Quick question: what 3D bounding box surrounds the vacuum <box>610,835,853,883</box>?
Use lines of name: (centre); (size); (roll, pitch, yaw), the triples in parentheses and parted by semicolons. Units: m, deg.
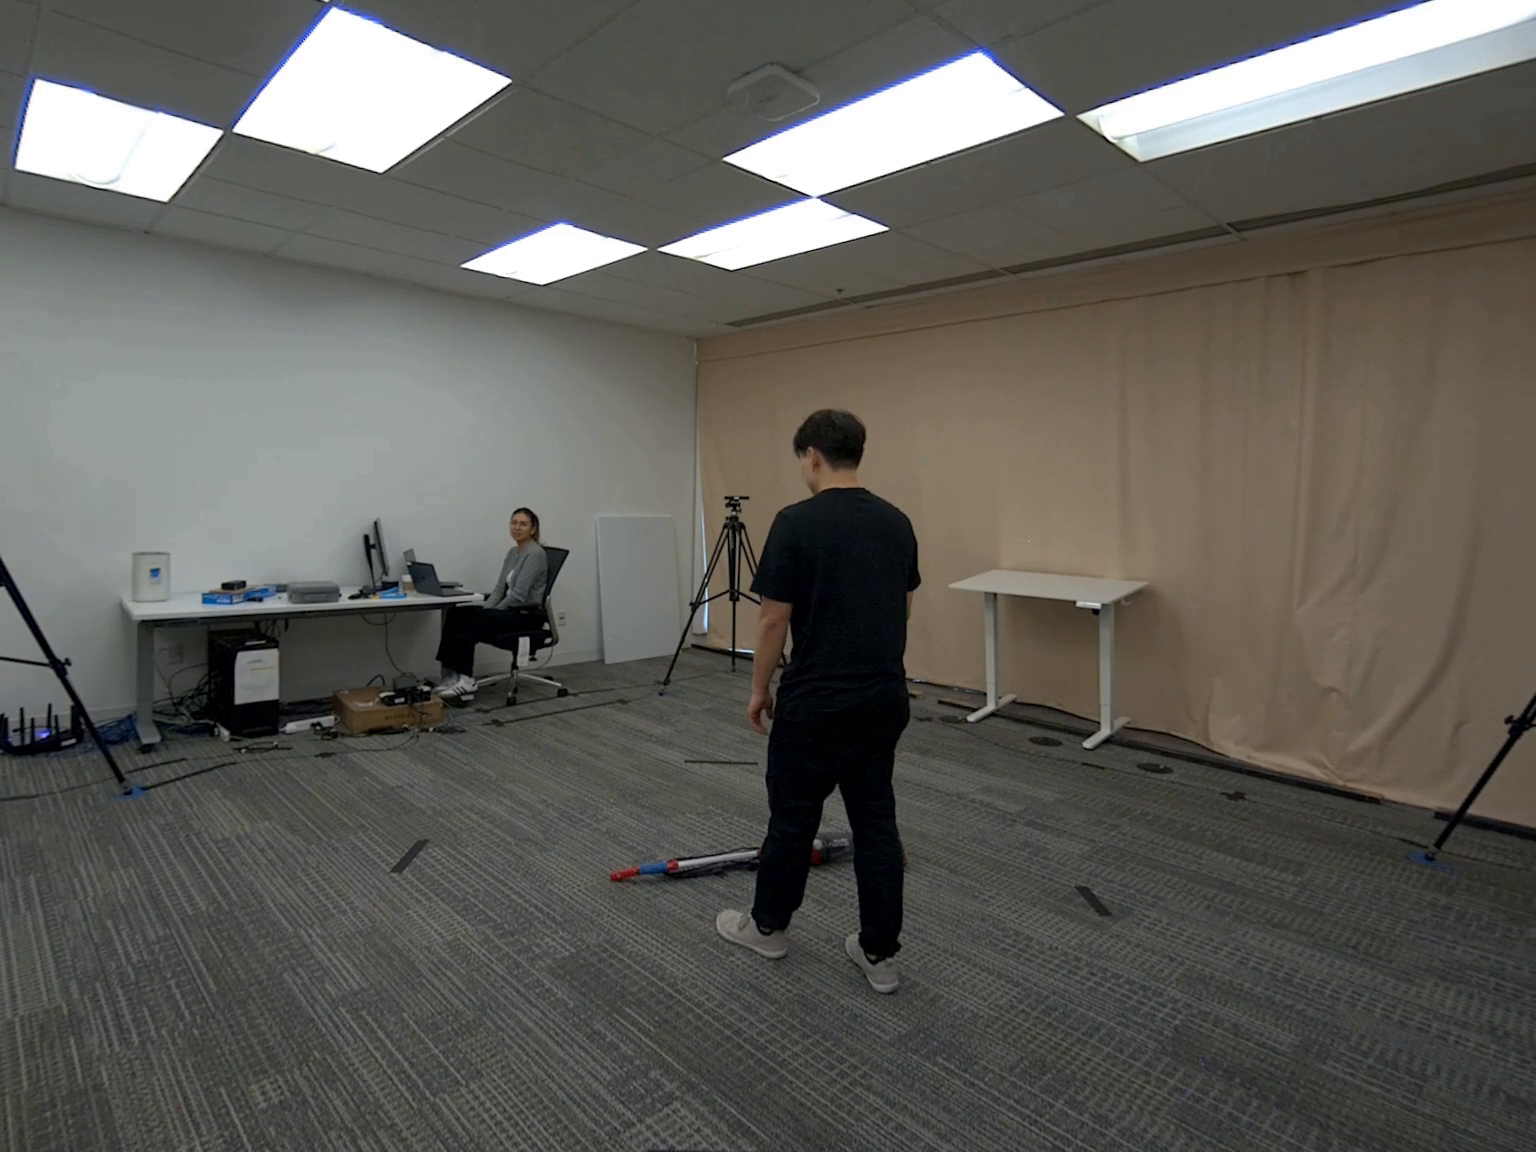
vacuum: (-0.059, 1.052, 3.155); (1.040, 0.259, 0.142); (-5, -32, -12)
